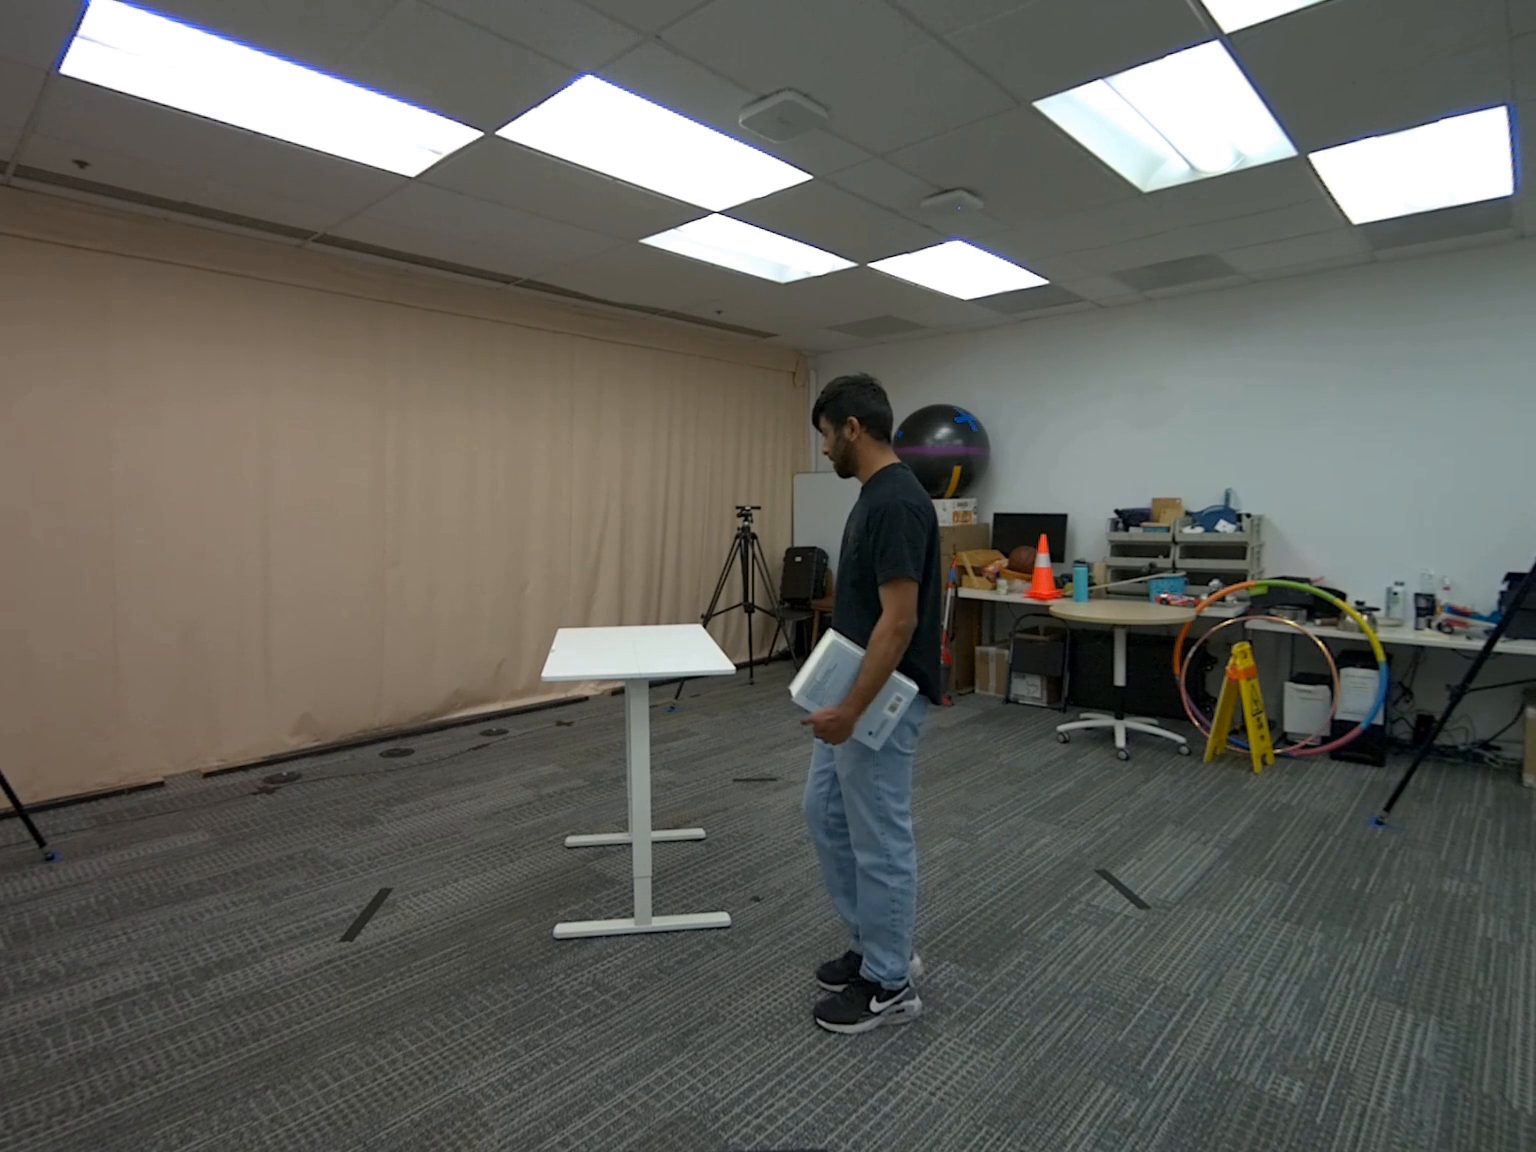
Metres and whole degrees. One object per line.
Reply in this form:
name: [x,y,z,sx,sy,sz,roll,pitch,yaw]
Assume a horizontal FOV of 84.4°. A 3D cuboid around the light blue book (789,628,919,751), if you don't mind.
light blue book: [0.209,0.278,2.093,0.257,0.191,0.060,33,6,-11]
